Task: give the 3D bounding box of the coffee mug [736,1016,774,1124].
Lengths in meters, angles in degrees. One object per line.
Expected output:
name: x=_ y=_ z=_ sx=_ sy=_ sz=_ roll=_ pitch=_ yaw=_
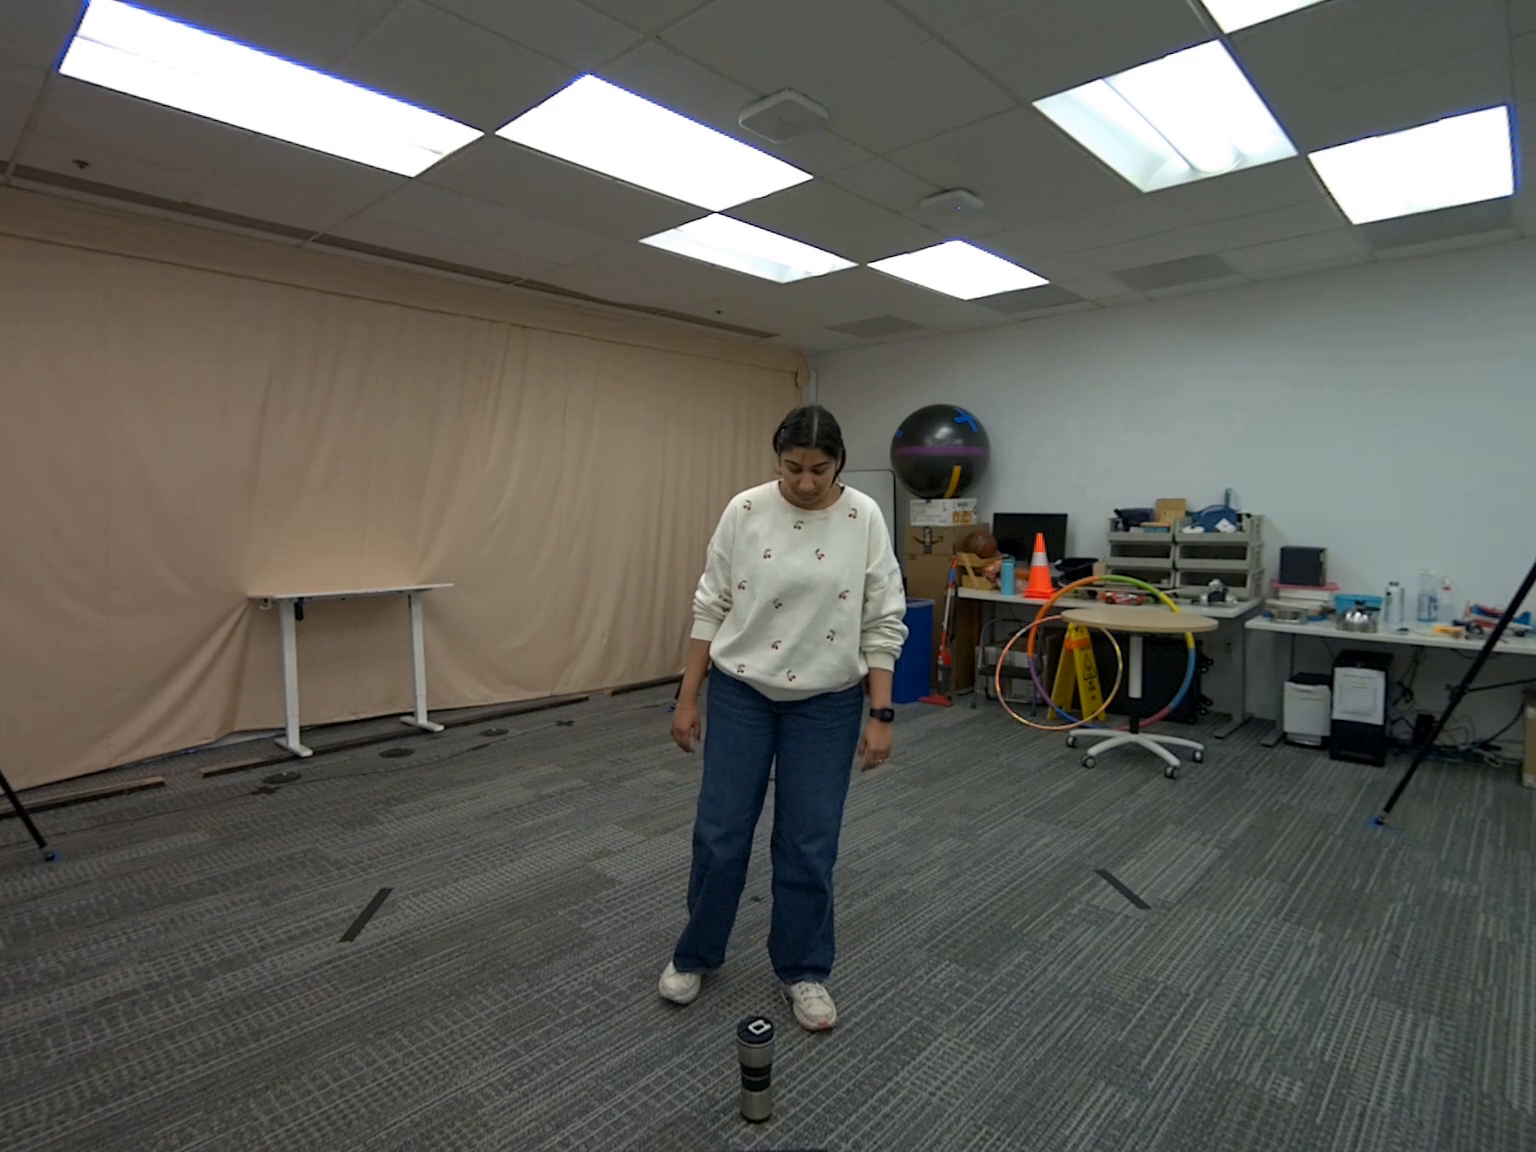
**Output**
coffee mug: x=-0.009 y=1.129 z=1.946 sx=0.090 sy=0.202 sz=0.118 roll=-3 pitch=4 yaw=38
